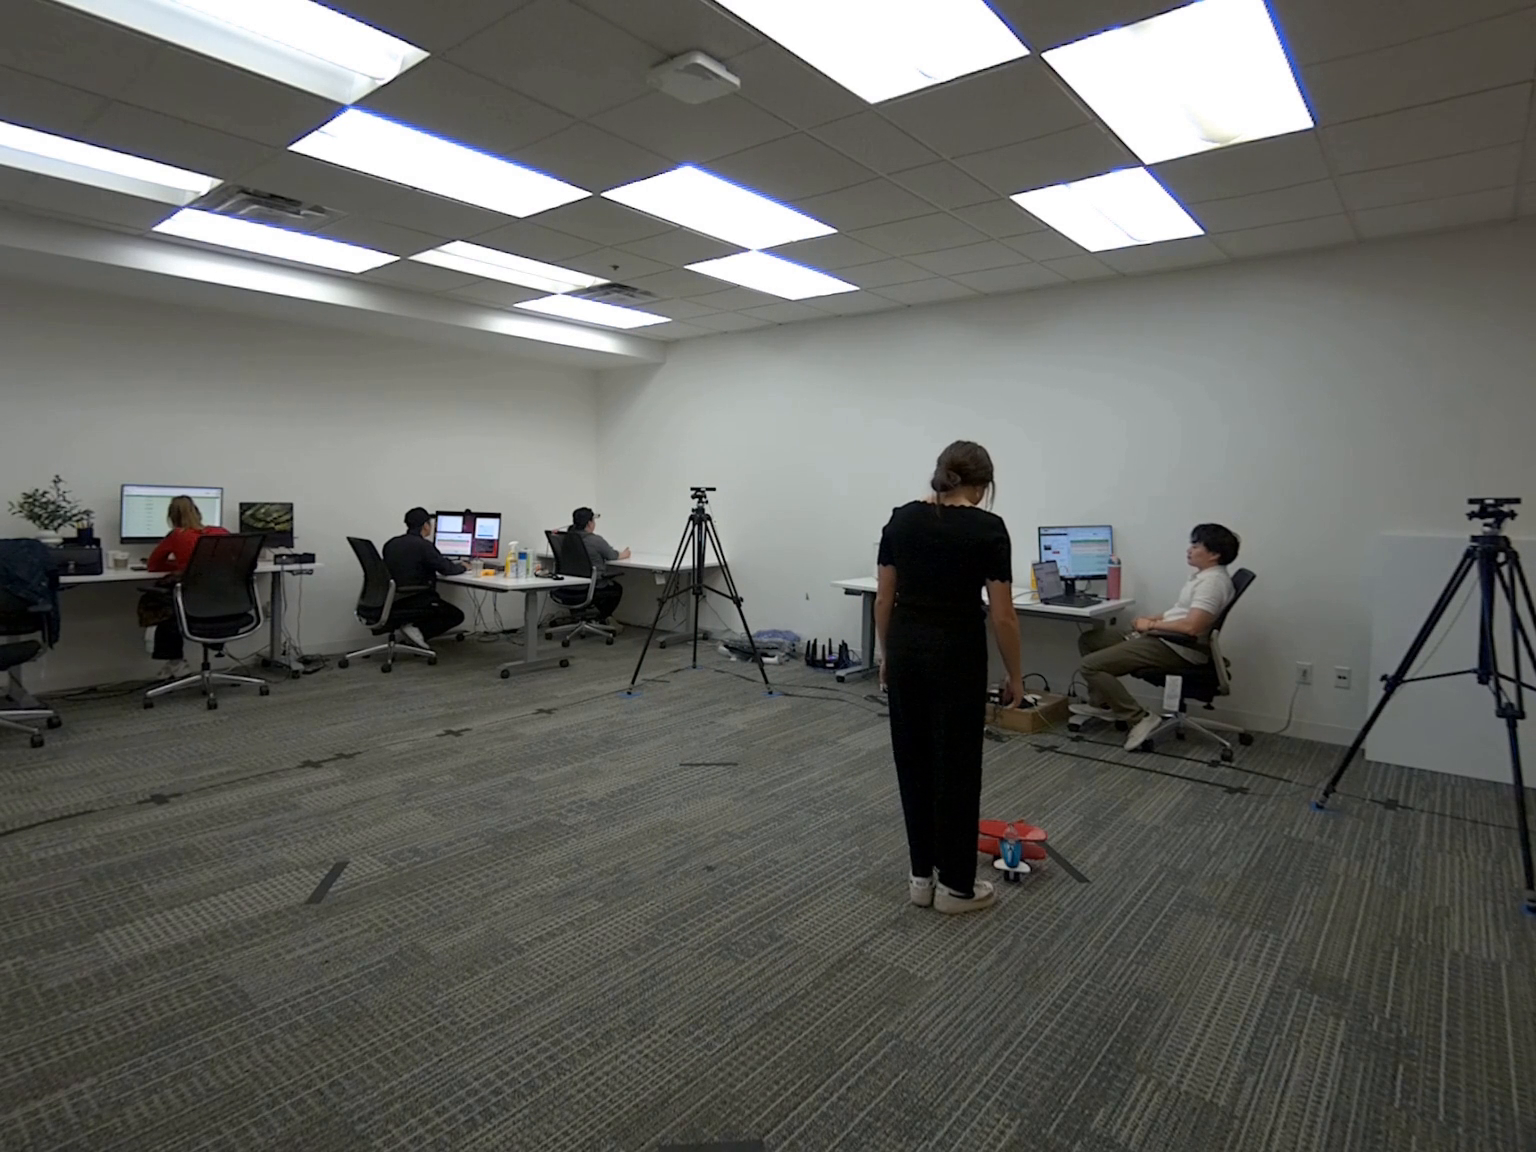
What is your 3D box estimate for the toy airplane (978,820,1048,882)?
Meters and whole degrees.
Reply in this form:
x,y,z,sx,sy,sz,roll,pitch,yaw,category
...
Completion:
x,y,z,sx,sy,sz,roll,pitch,yaw,category
0.911,1.012,3.160,0.247,0.156,0.264,0,4,-14,toy airplane
